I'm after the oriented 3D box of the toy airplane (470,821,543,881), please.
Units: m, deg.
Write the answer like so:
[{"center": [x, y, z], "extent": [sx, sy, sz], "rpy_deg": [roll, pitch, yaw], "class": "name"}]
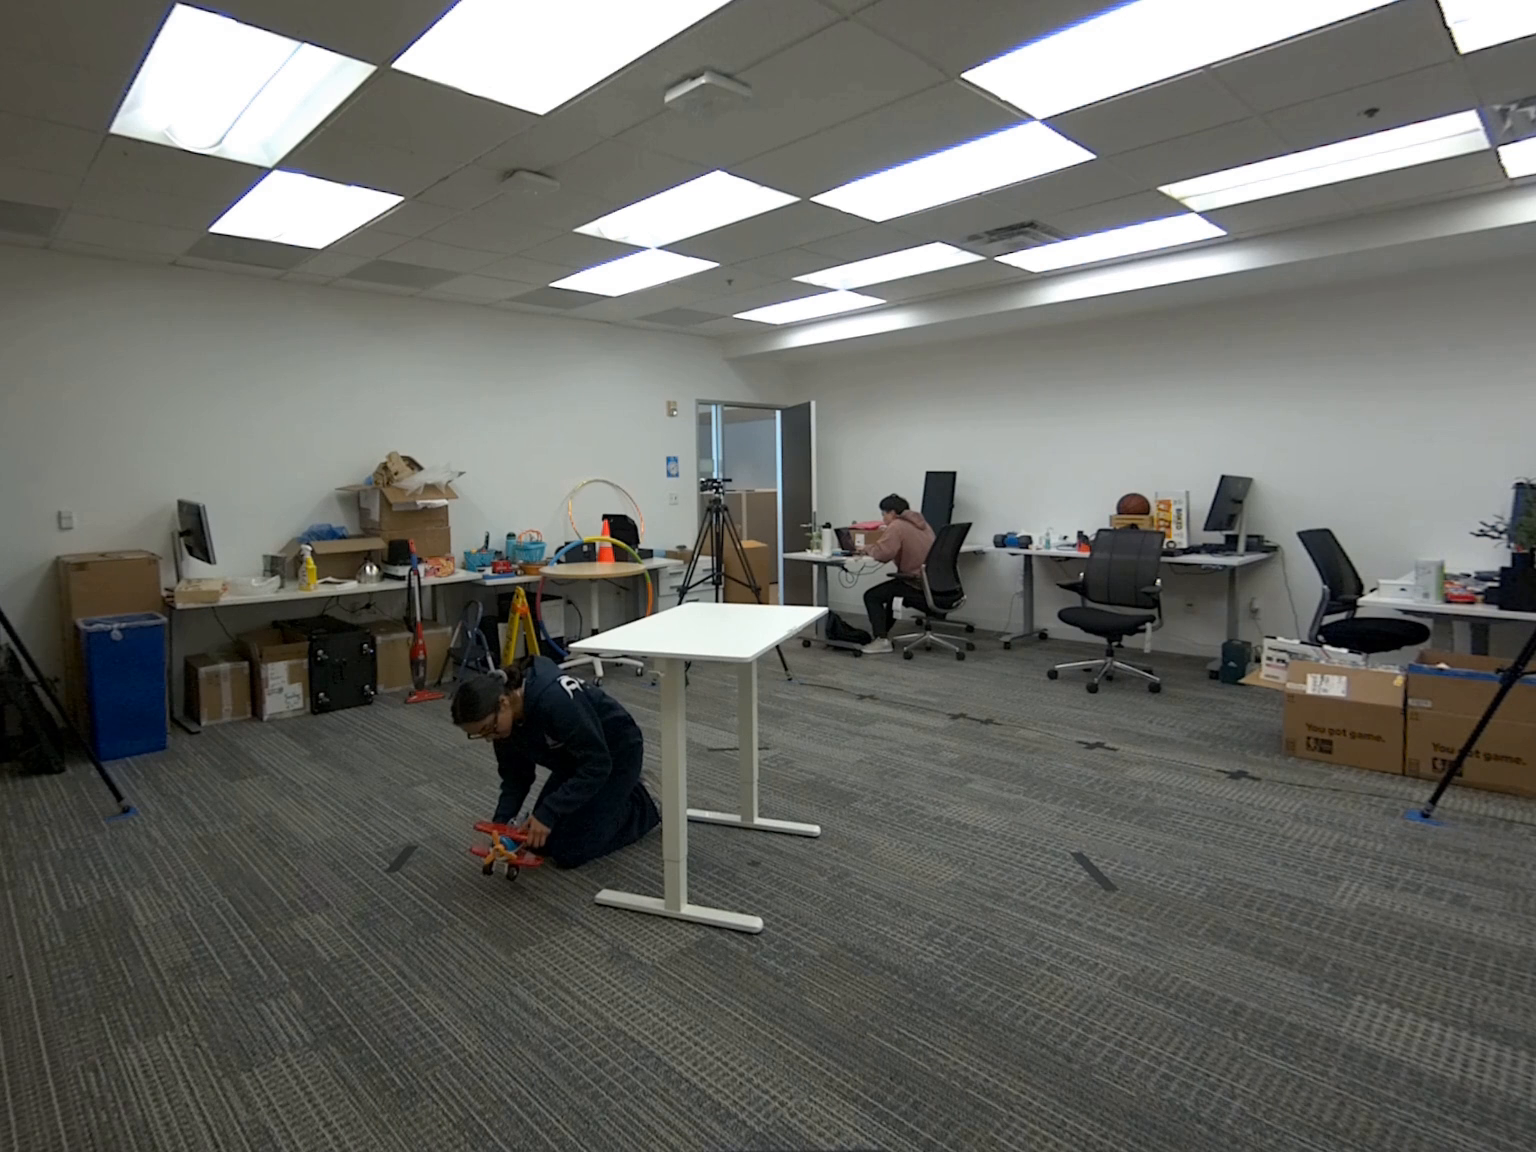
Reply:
[{"center": [-0.922, 0.923, 2.963], "extent": [0.243, 0.156, 0.268], "rpy_deg": [9, 8, -34], "class": "toy airplane"}]
